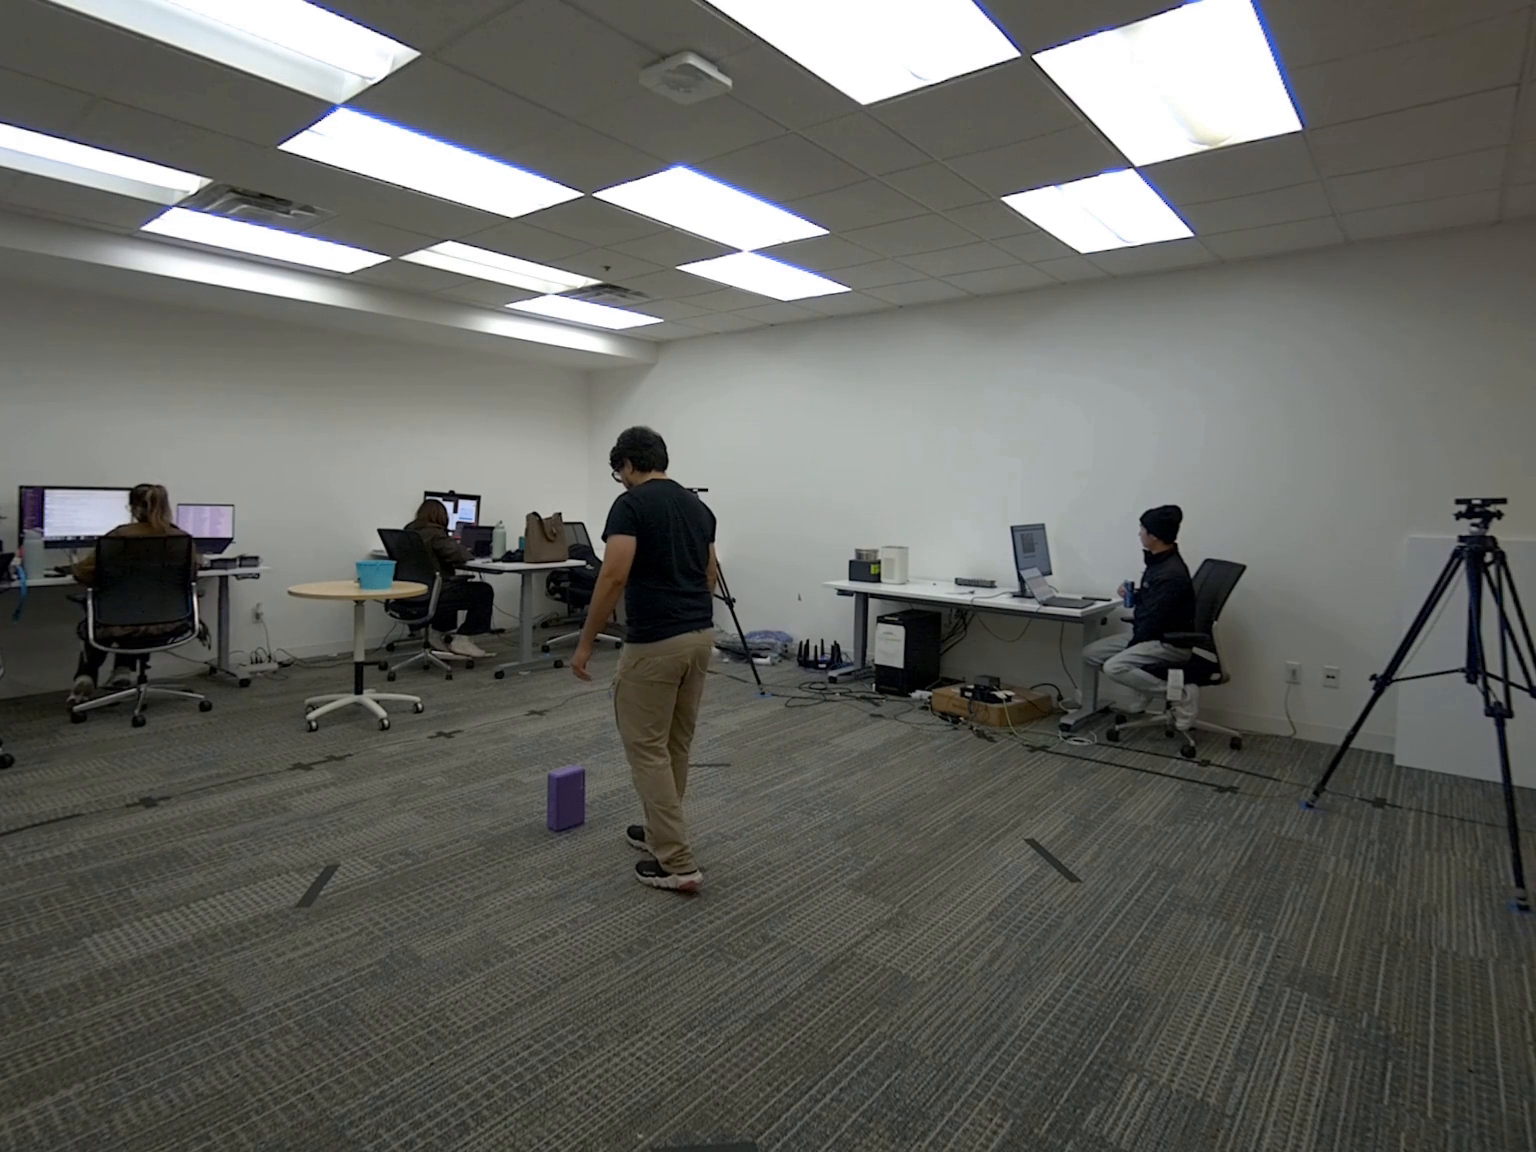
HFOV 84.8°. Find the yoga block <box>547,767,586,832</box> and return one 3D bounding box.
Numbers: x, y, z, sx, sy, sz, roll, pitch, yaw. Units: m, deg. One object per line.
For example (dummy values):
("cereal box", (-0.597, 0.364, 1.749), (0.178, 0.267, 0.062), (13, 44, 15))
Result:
("yoga block", (-0.841, 0.907, 3.490), (0.079, 0.229, 0.144), (3, 4, 40))
